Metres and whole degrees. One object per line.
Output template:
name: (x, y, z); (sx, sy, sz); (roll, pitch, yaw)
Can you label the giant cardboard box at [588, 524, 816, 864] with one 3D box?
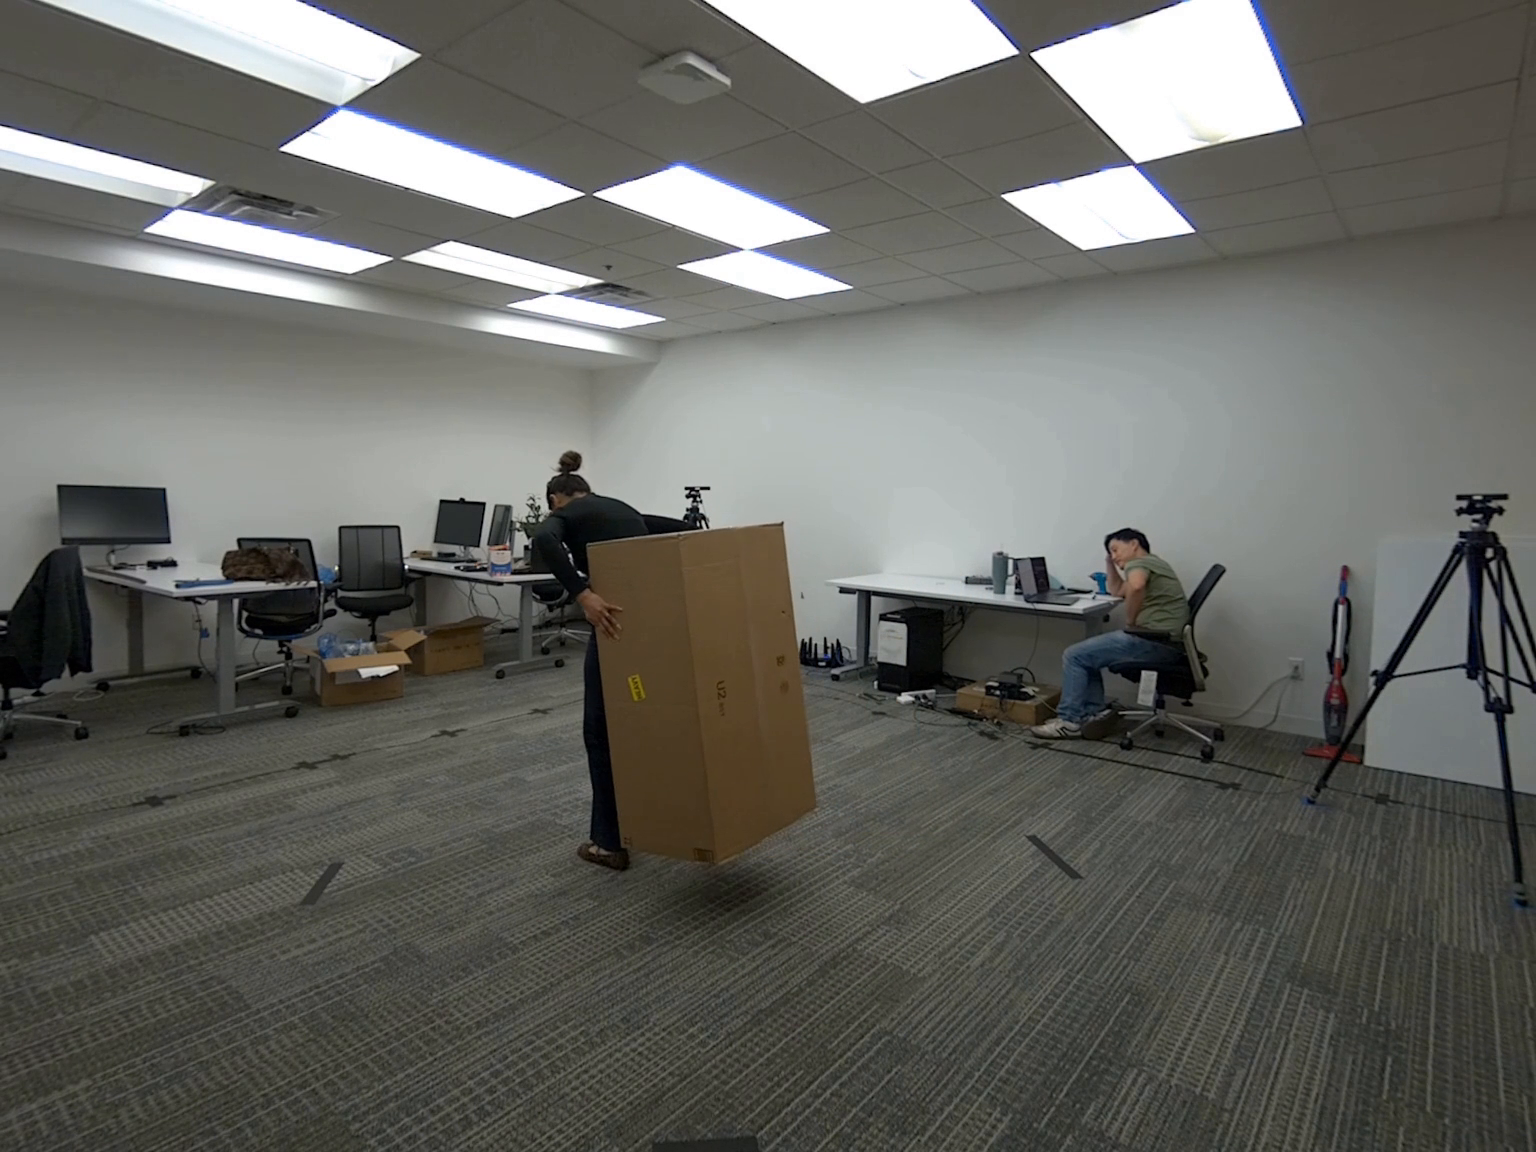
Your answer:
giant cardboard box: (-0.217, 0.363, 2.926); (0.438, 1.025, 0.562); (-5, 2, 37)
